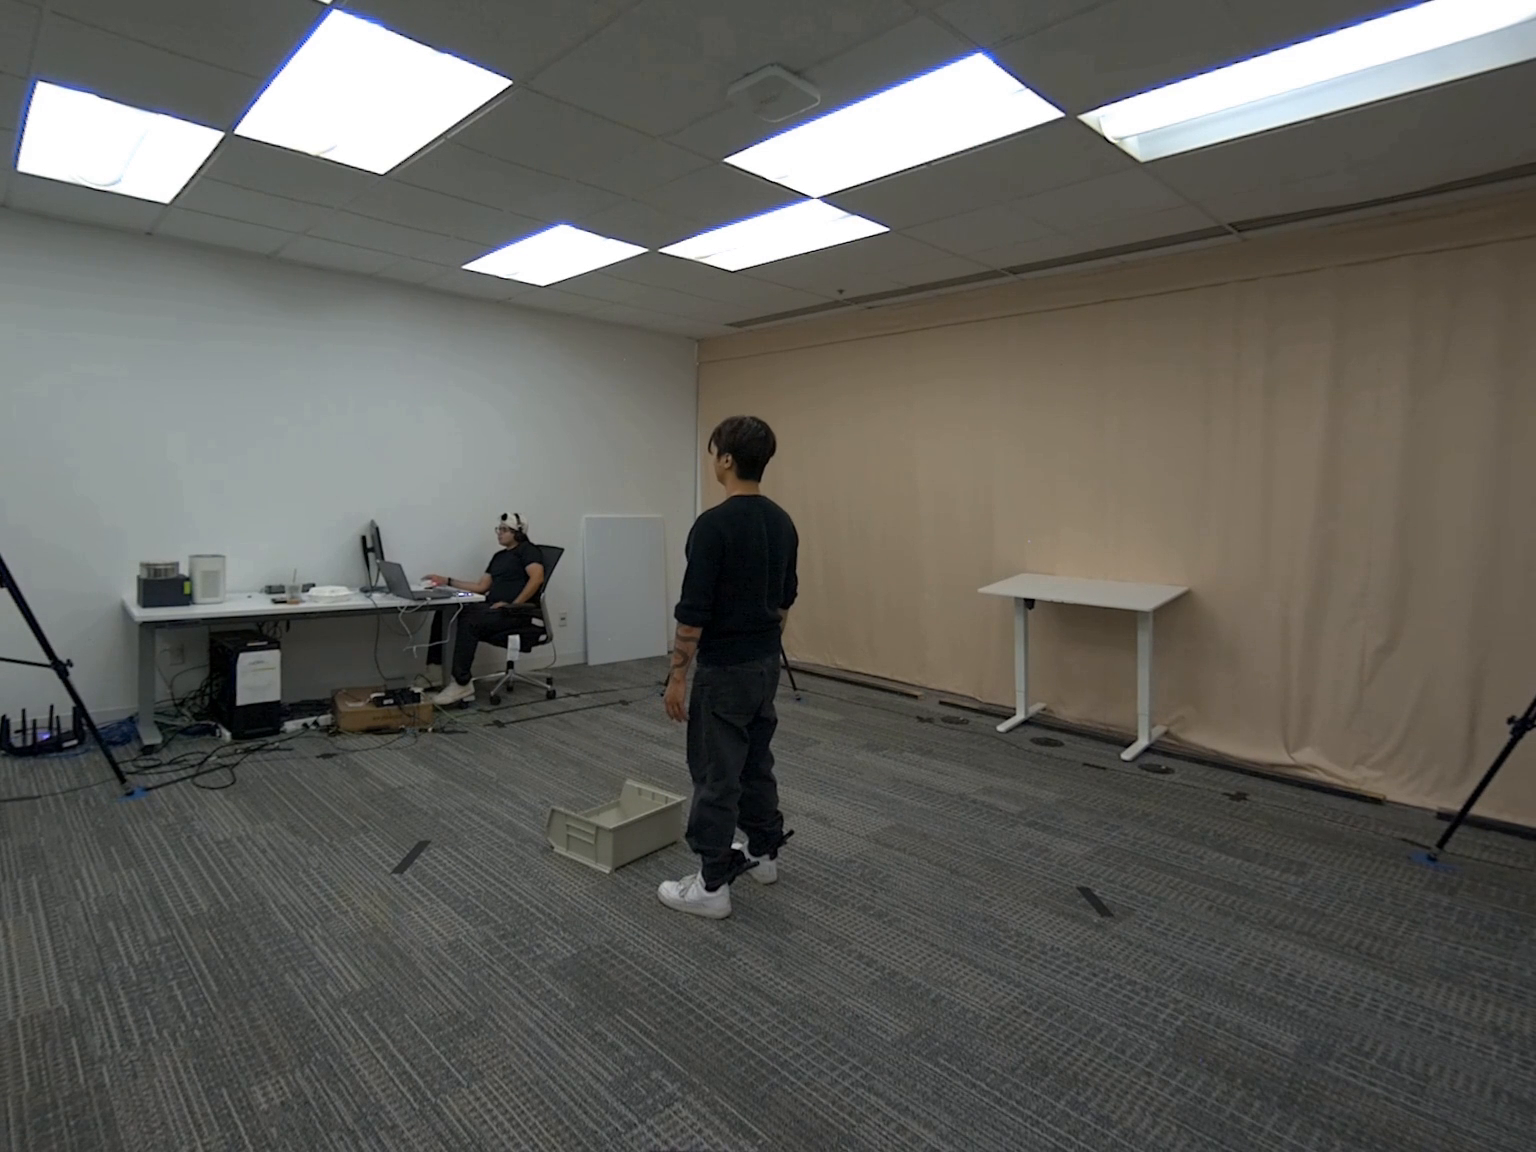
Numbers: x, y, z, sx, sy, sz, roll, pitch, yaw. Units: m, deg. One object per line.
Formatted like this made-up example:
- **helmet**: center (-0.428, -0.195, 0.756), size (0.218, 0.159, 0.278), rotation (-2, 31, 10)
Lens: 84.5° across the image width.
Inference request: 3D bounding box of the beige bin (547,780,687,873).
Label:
- **beige bin**: center (-0.612, 0.986, 3.361), size (0.387, 0.188, 0.413), rotation (6, 6, 37)
